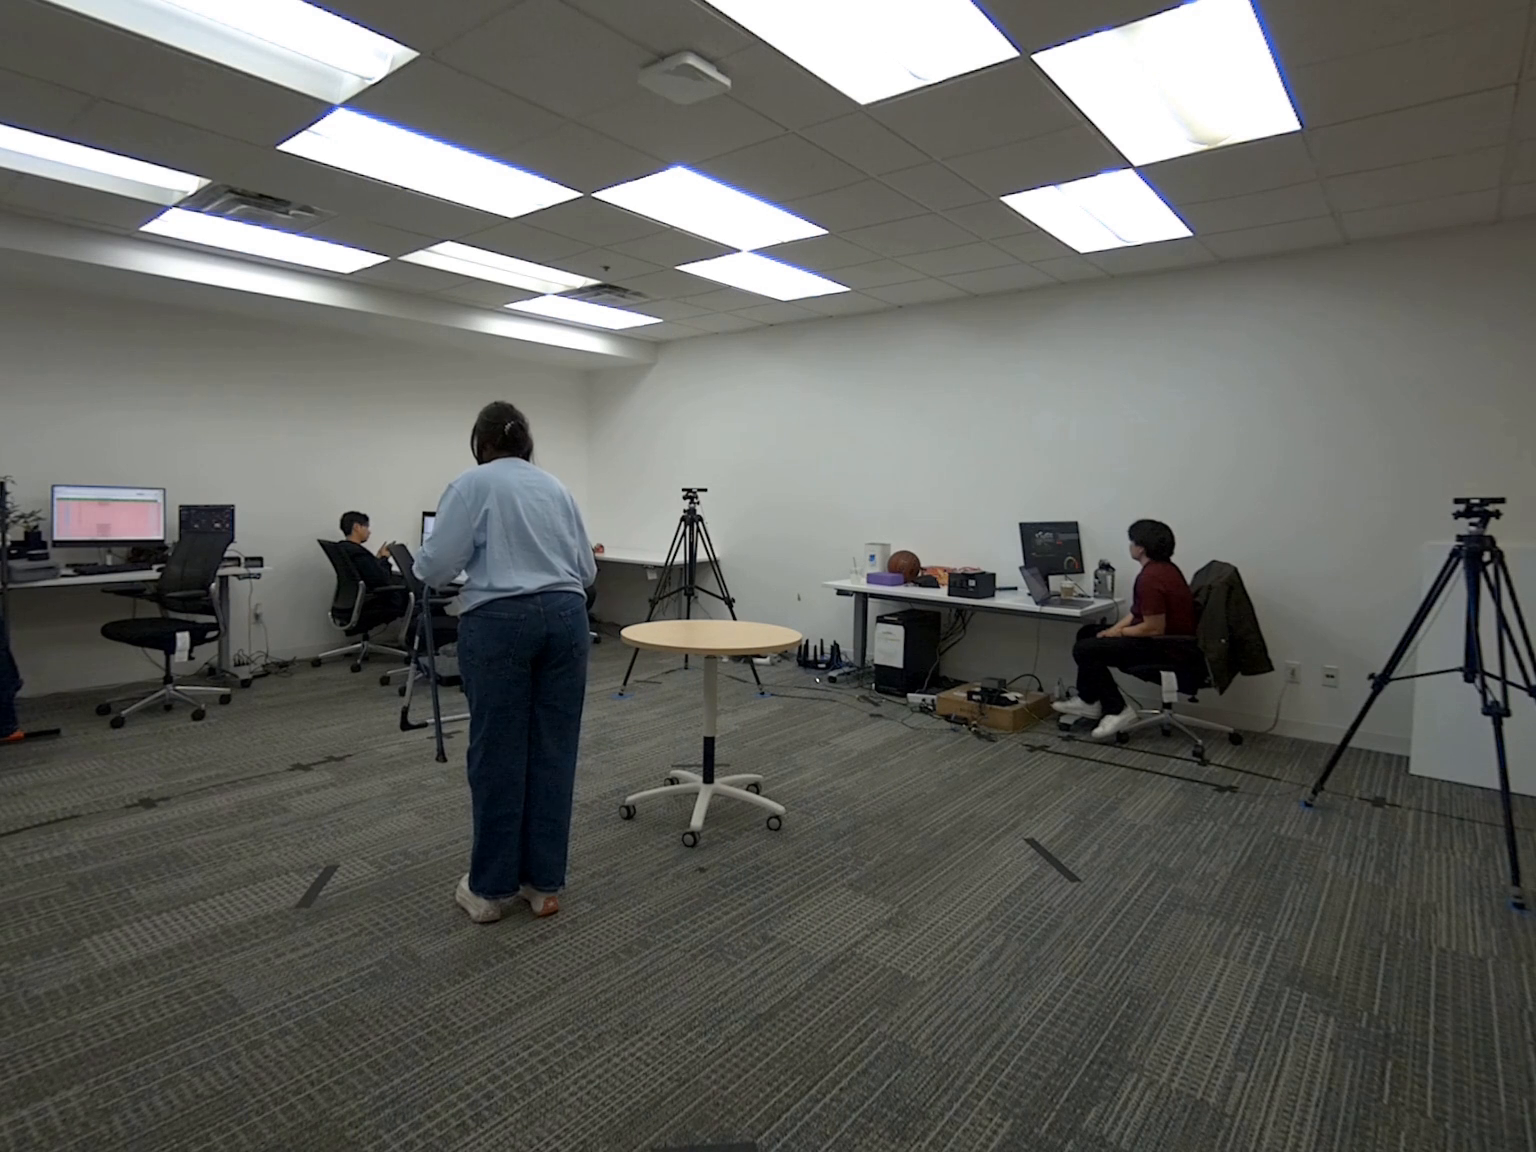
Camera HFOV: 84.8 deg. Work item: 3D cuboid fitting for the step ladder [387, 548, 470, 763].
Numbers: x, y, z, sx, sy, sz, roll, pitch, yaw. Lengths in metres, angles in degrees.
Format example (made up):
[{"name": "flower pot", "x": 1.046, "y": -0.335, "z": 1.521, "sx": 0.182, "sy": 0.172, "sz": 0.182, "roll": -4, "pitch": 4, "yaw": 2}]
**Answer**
[{"name": "step ladder", "x": -1.020, "y": 0.264, "z": 2.970, "sx": 0.362, "sy": 0.603, "sz": 0.417, "roll": 11, "pitch": 9, "yaw": 43}]
